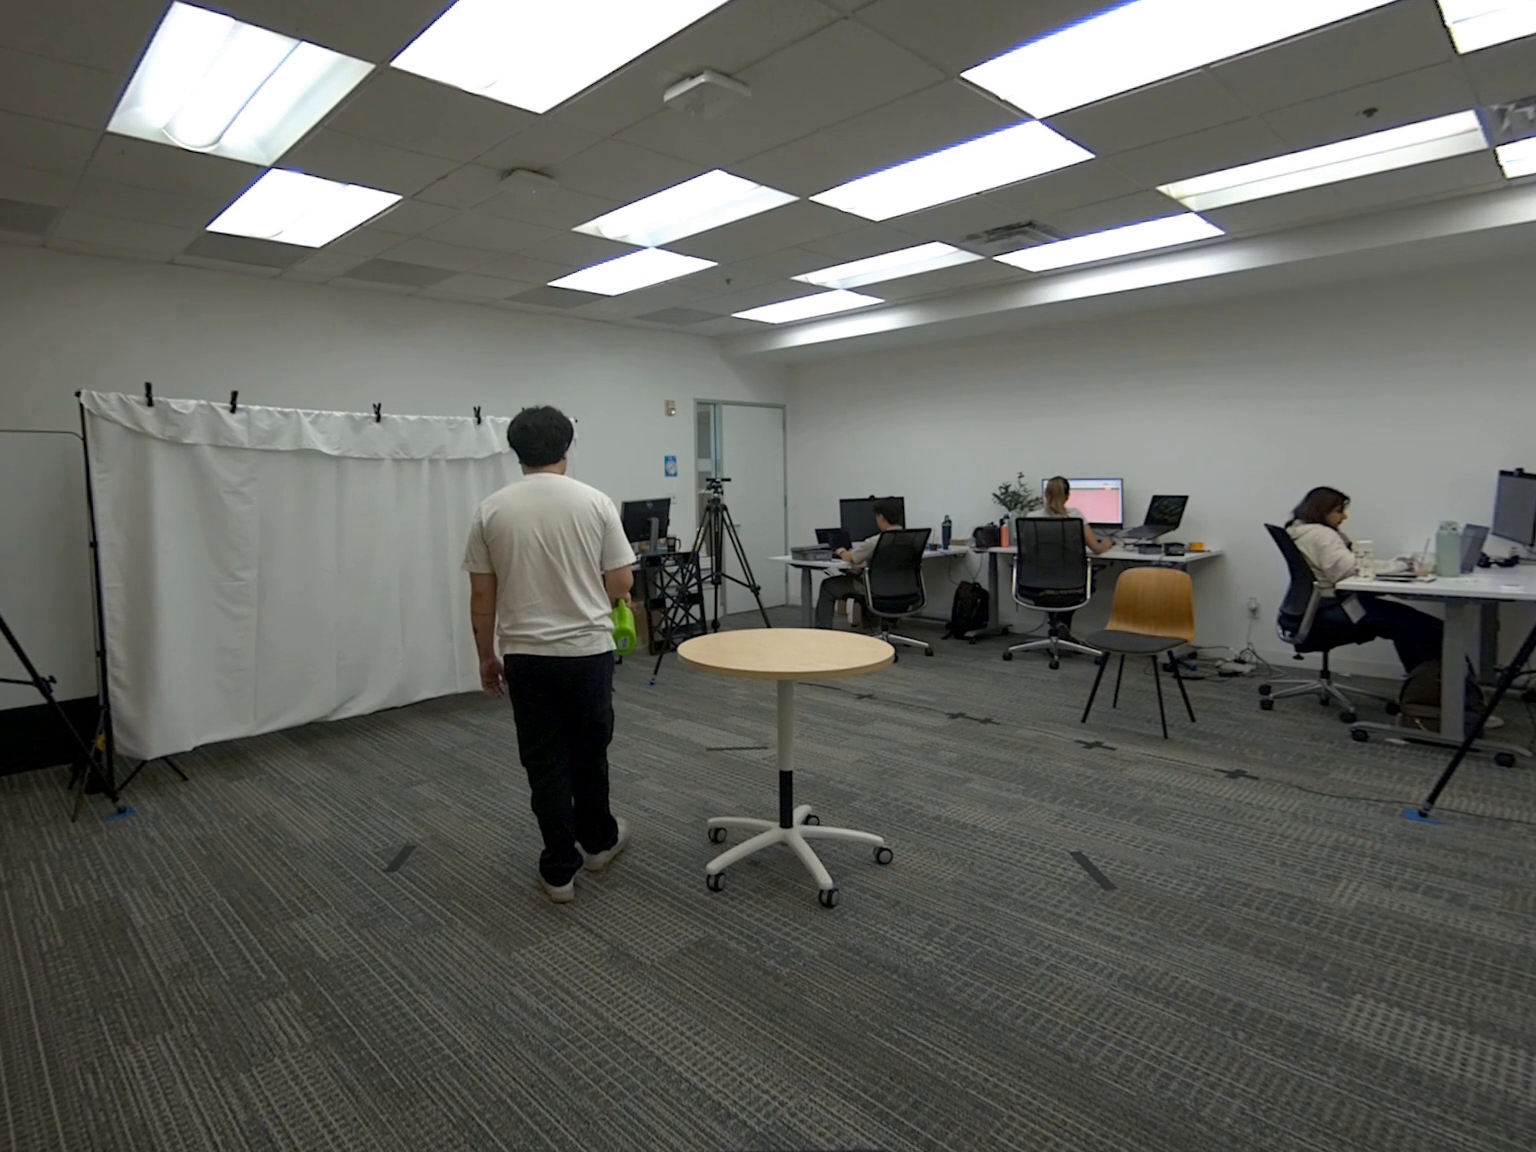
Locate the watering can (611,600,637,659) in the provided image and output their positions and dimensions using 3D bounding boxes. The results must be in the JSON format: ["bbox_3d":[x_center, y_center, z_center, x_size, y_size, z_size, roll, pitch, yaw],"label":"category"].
[{"bbox_3d":[-0.533,0.224,3.174,0.098,0.270,0.182,-9,36,-2],"label":"watering can"}]
